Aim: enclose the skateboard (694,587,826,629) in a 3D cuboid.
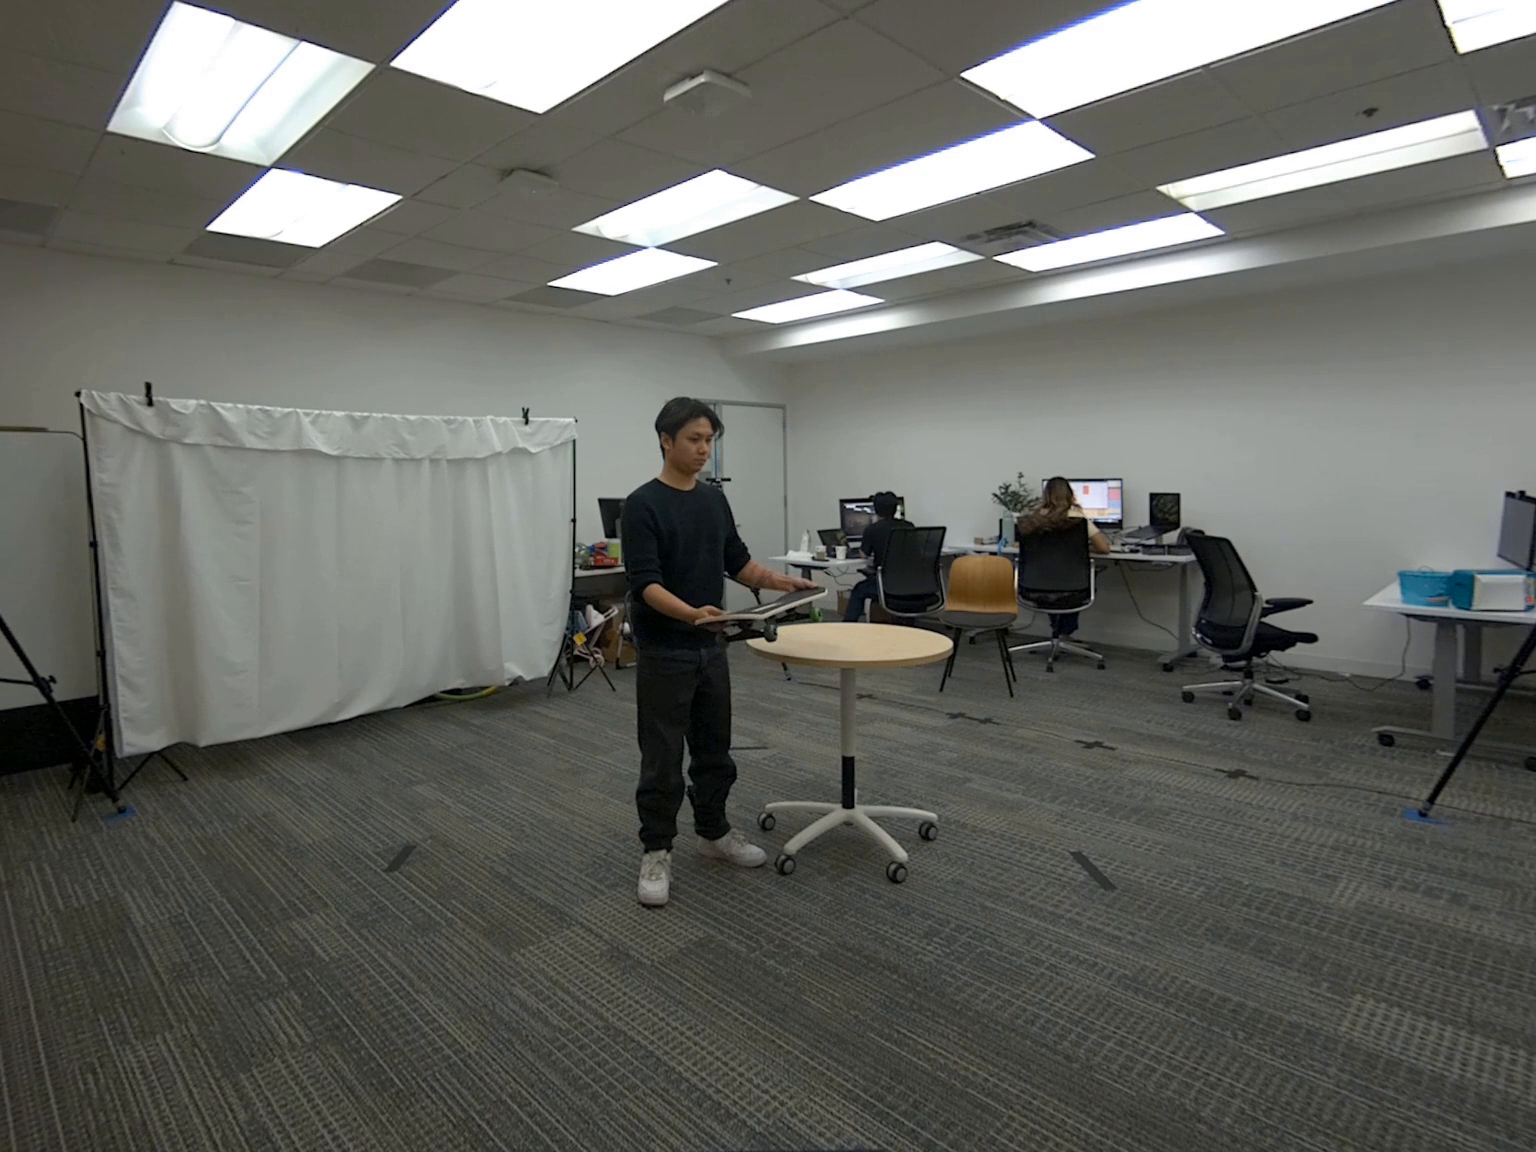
[{"bbox_3d":[0.003,0.136,2.660,0.197,0.110,0.770,-11,1,25],"label":"skateboard"}]
